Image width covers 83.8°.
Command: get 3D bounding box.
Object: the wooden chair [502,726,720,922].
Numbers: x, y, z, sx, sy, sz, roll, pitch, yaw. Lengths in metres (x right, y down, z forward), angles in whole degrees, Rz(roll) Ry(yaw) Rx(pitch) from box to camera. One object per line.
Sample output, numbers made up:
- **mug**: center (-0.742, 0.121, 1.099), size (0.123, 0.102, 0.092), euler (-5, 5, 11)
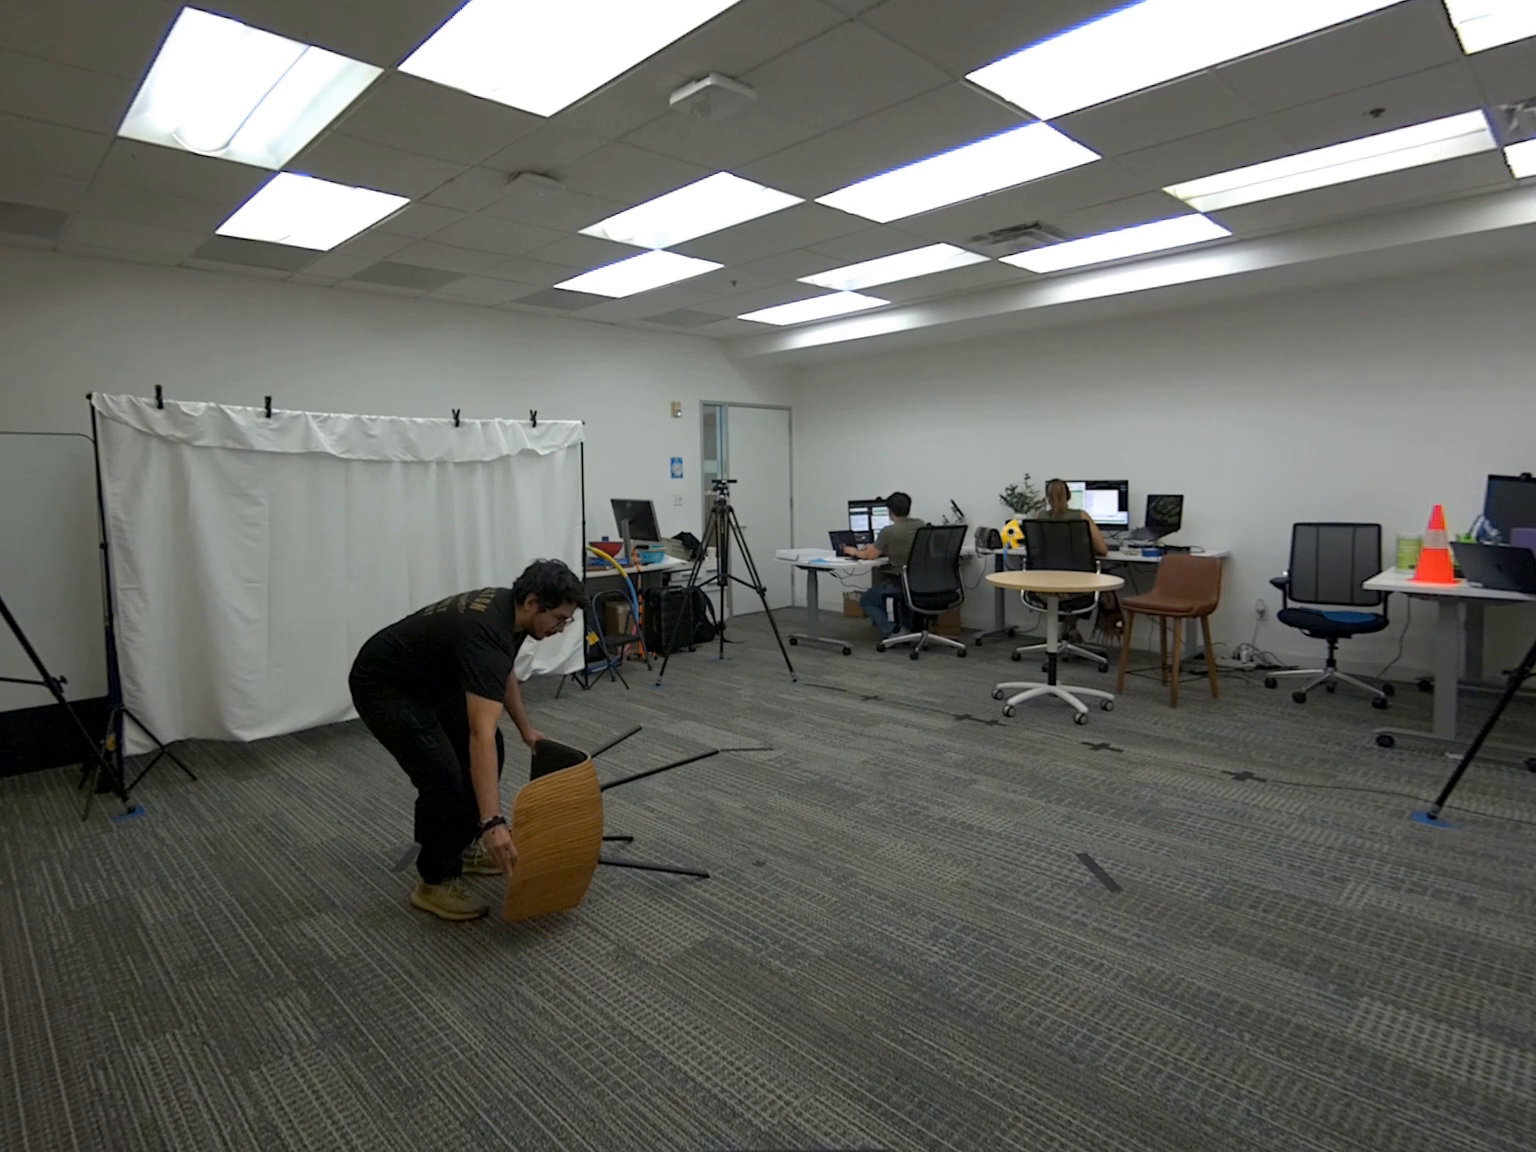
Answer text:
- **wooden chair**: center (-0.651, 0.811, 2.886), size (0.539, 0.478, 0.851), euler (4, 2, 40)
